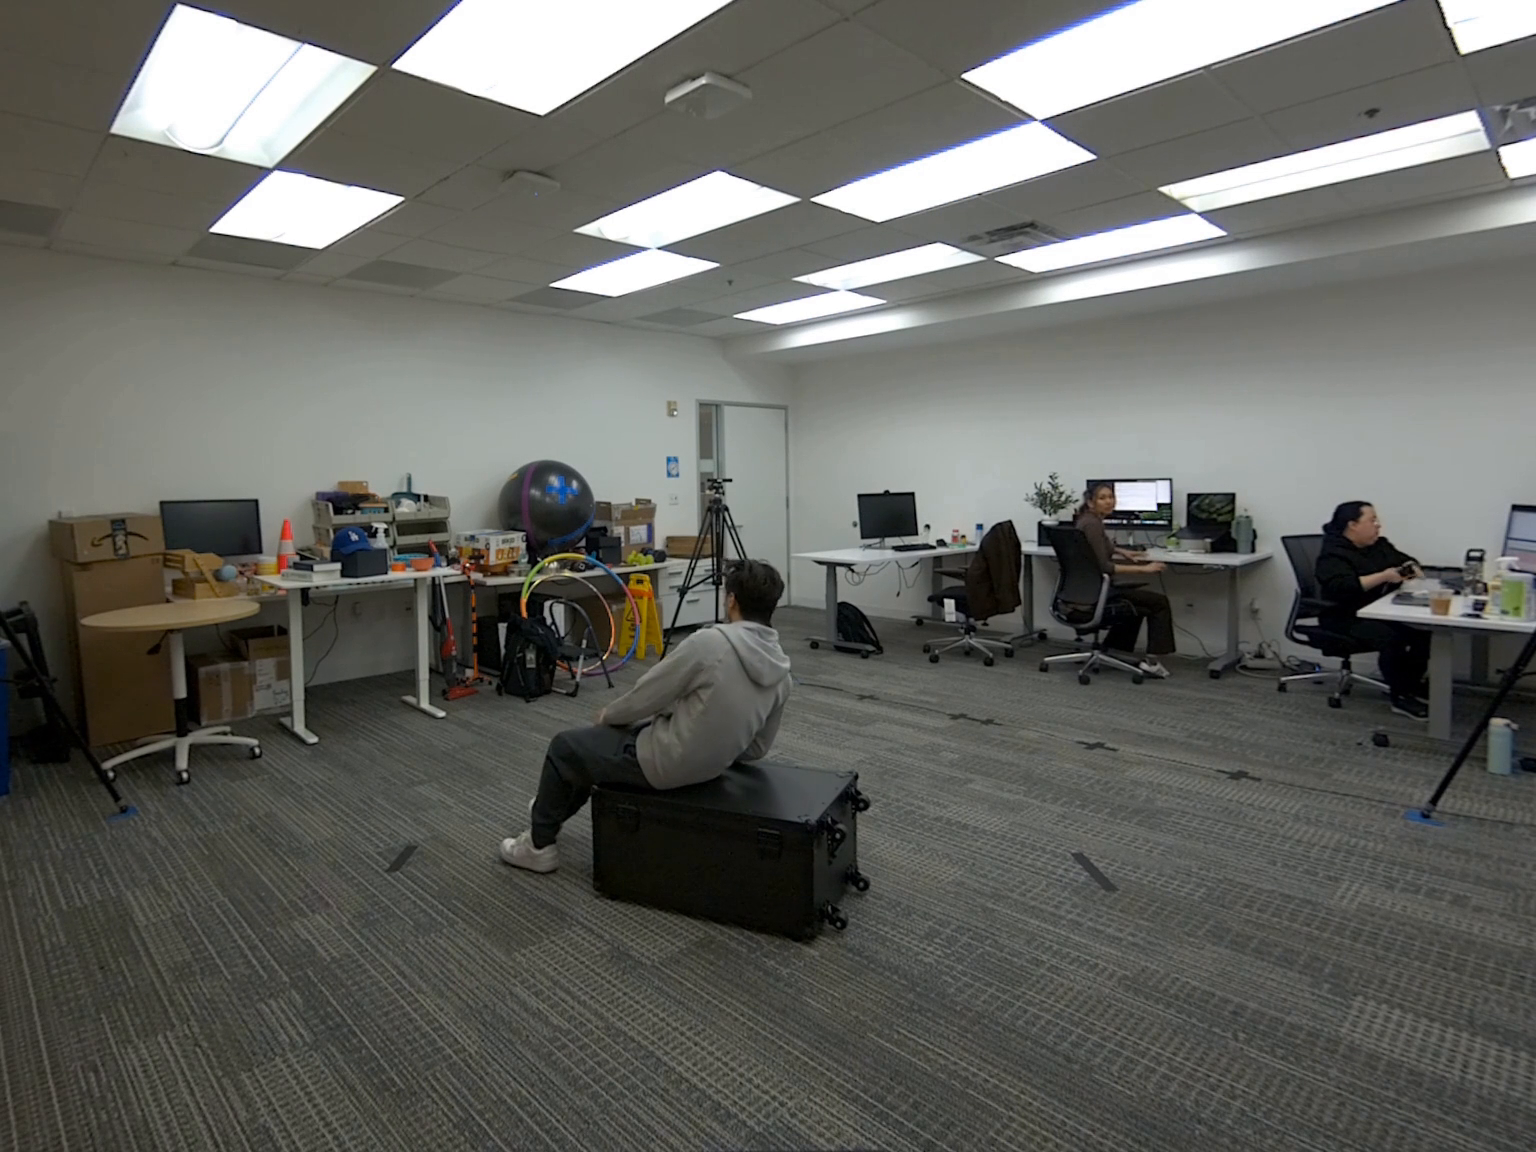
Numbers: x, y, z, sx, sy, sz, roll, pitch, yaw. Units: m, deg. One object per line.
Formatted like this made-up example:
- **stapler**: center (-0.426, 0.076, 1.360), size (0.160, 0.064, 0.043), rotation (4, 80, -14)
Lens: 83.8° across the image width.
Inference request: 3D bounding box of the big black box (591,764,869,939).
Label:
- **big black box**: center (-0.159, 0.879, 2.927), size (0.881, 0.395, 0.512), rotation (2, 6, 24)
